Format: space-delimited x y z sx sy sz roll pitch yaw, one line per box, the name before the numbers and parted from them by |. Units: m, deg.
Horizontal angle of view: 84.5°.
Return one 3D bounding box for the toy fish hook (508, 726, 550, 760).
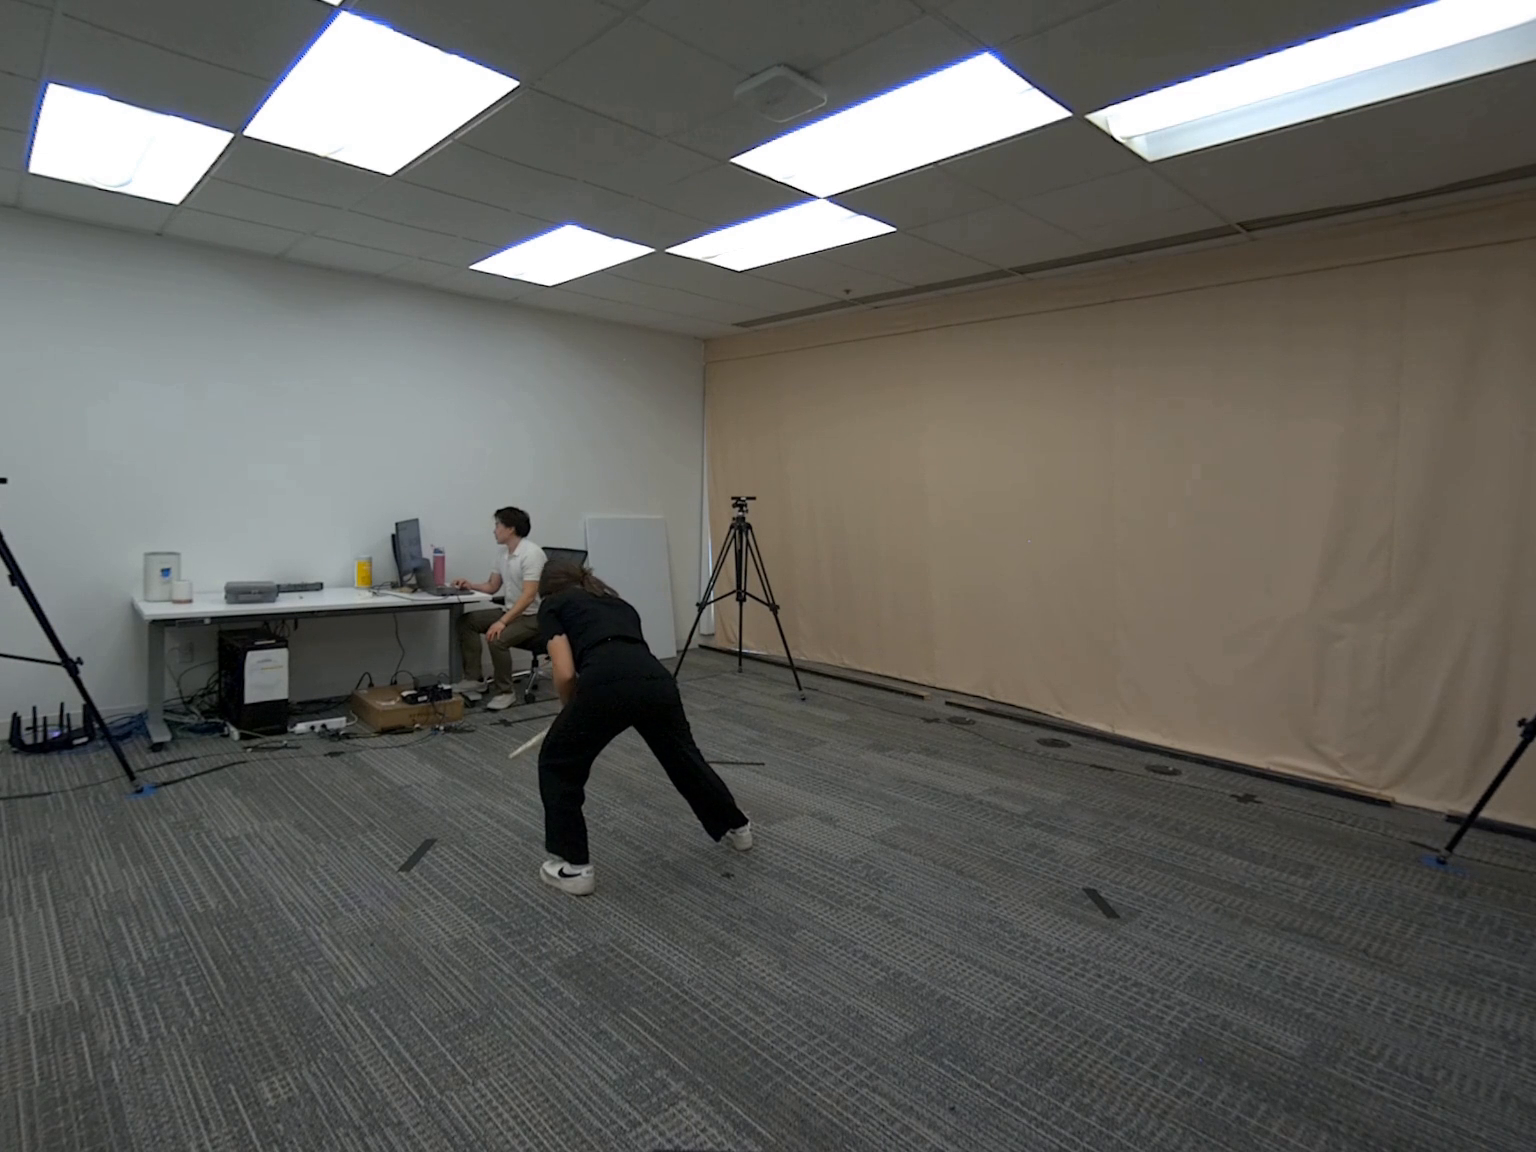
toy fish hook | -0.869 0.617 3.247 0.223 0.048 0.509 -39 1 -44
